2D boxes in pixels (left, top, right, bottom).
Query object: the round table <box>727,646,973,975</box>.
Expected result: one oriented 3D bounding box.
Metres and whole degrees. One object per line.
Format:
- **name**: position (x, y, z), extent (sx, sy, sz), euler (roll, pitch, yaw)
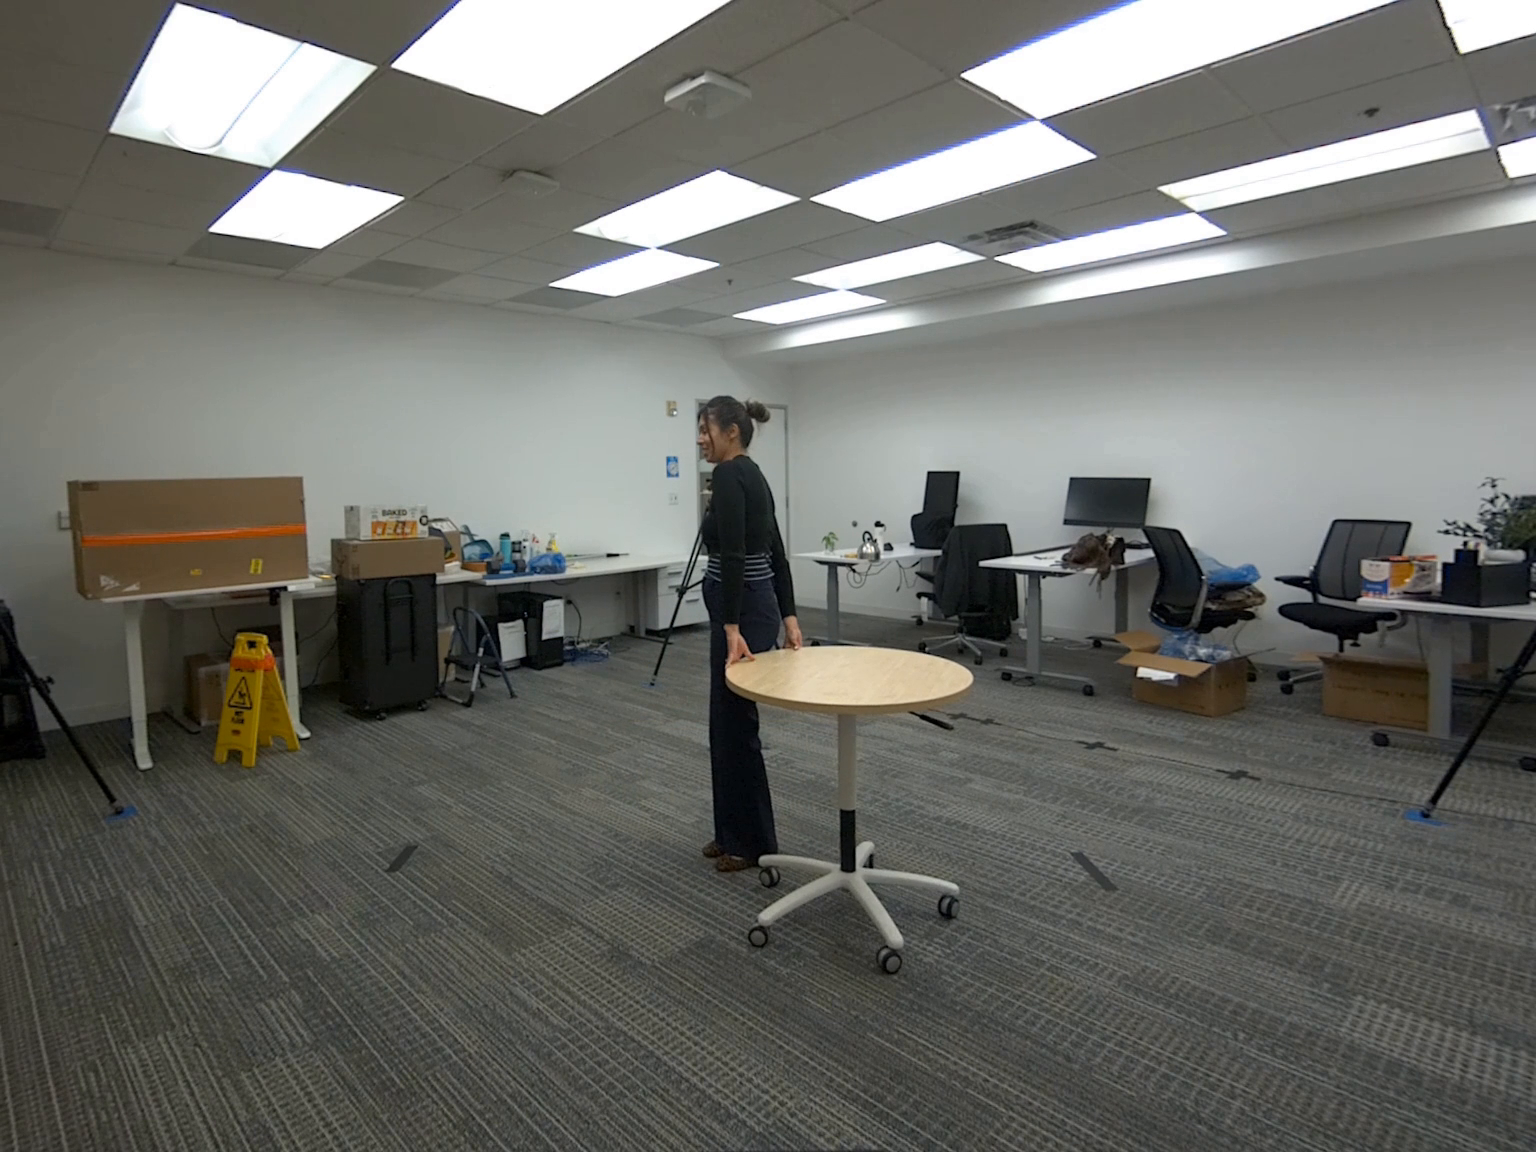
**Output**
- **round table**: position (0.258, 0.695, 2.720), extent (0.763, 0.790, 0.768), euler (-1, 5, -2)
